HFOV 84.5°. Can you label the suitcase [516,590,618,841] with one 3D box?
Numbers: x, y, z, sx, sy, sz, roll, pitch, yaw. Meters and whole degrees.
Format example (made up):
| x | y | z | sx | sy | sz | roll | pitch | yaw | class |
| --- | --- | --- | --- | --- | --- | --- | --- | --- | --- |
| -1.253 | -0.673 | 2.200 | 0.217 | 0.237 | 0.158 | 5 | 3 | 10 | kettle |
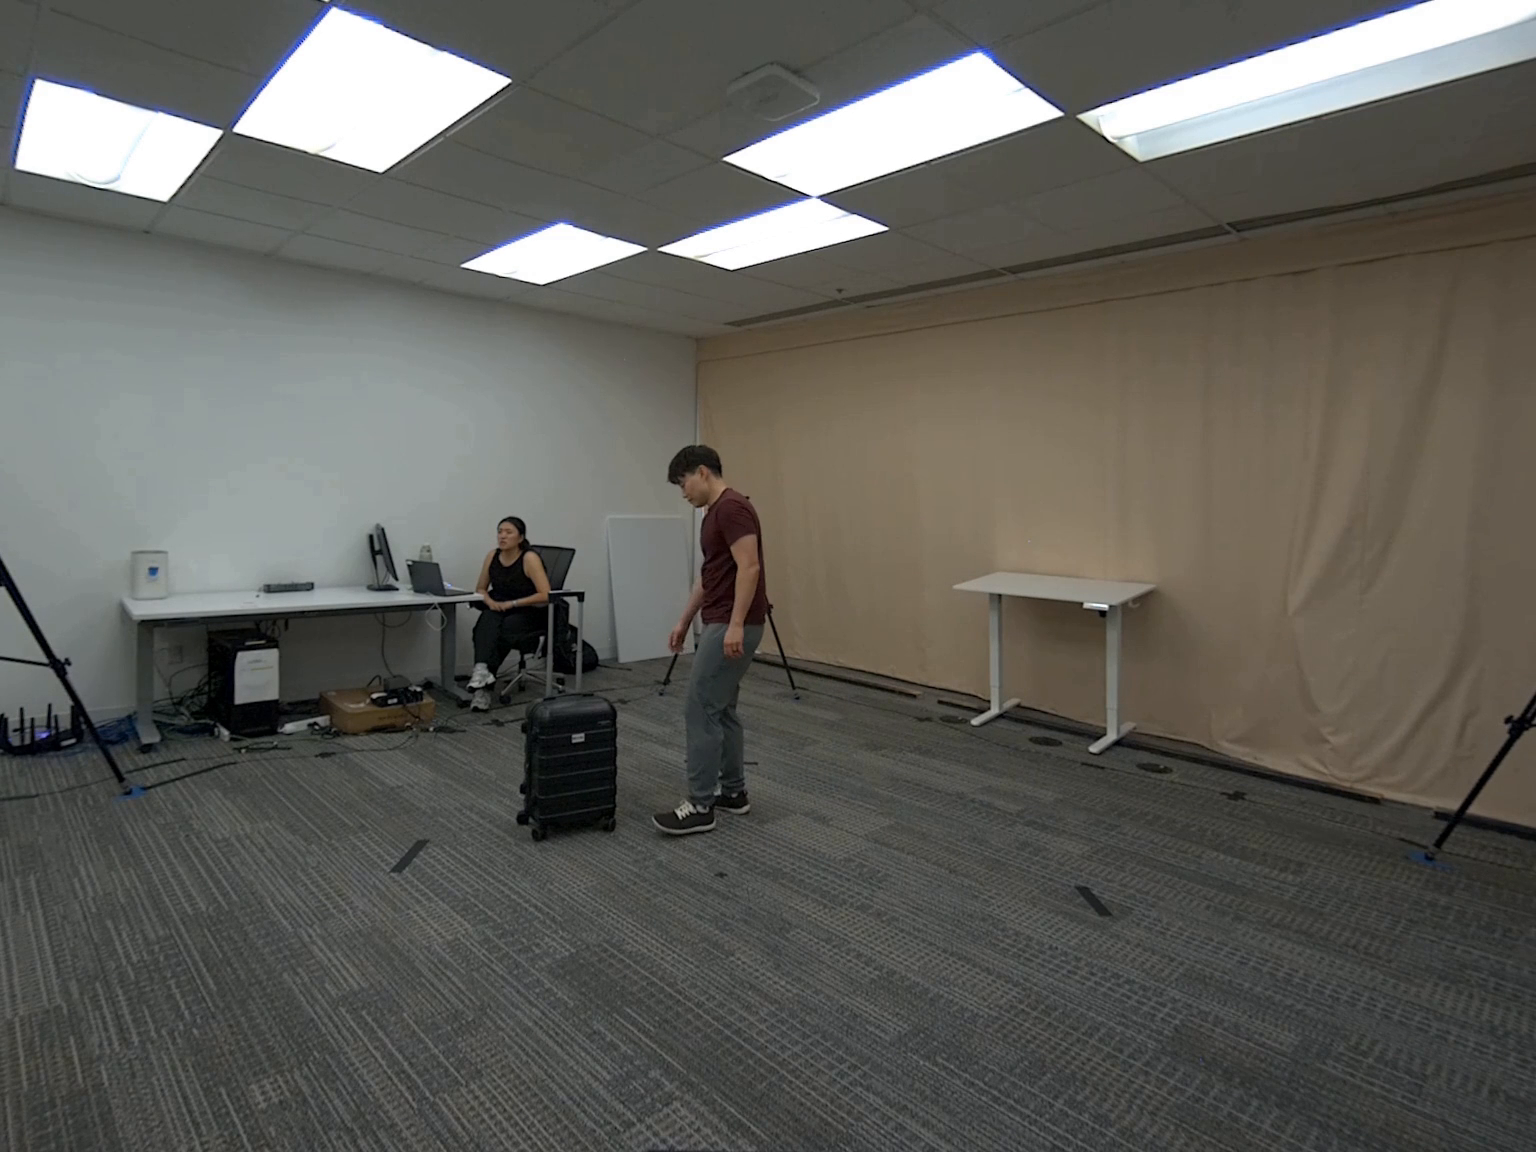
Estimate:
| x | y | z | sx | sy | sz | roll | pitch | yaw | class |
| --- | --- | --- | --- | --- | --- | --- | --- | --- | --- |
| -0.827 | 0.576 | 3.499 | 0.376 | 0.975 | 0.263 | 0 | 6 | -28 | suitcase |
